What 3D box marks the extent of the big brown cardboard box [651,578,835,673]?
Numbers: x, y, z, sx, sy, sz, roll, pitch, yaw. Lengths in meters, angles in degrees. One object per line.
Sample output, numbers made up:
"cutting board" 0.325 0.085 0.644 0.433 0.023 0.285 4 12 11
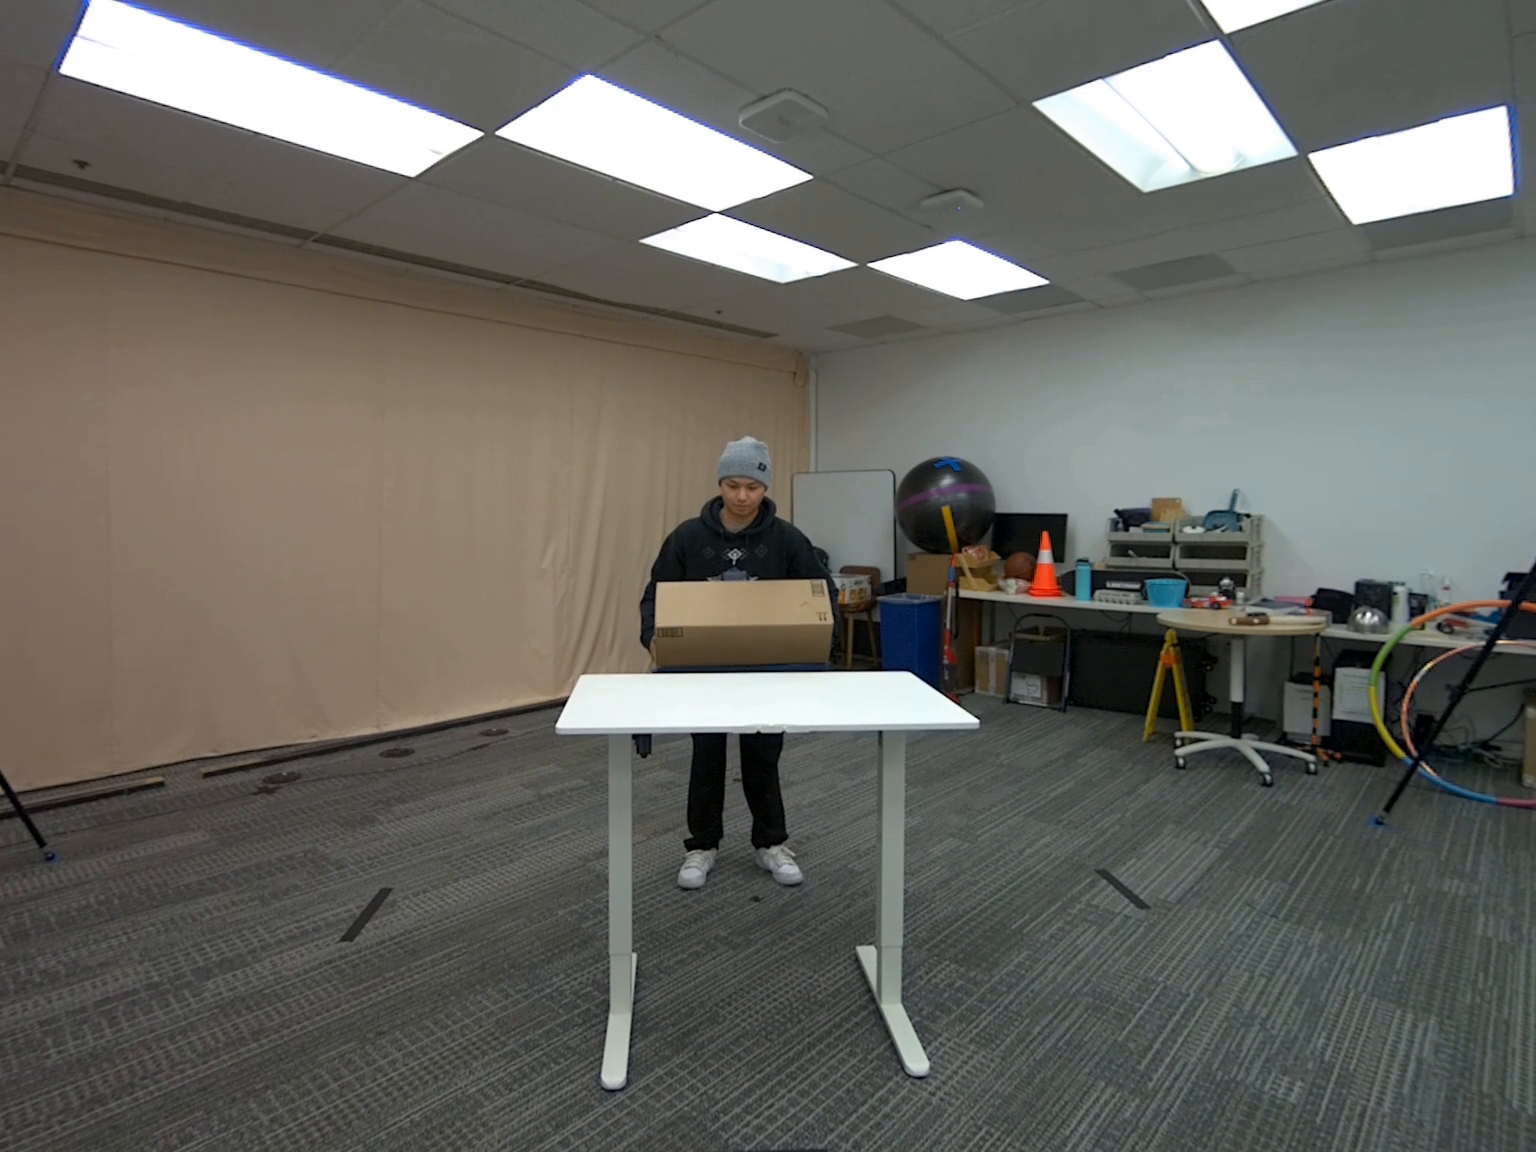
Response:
"big brown cardboard box" -0.096 0.241 2.858 0.588 0.409 0.238 -2 41 -1
